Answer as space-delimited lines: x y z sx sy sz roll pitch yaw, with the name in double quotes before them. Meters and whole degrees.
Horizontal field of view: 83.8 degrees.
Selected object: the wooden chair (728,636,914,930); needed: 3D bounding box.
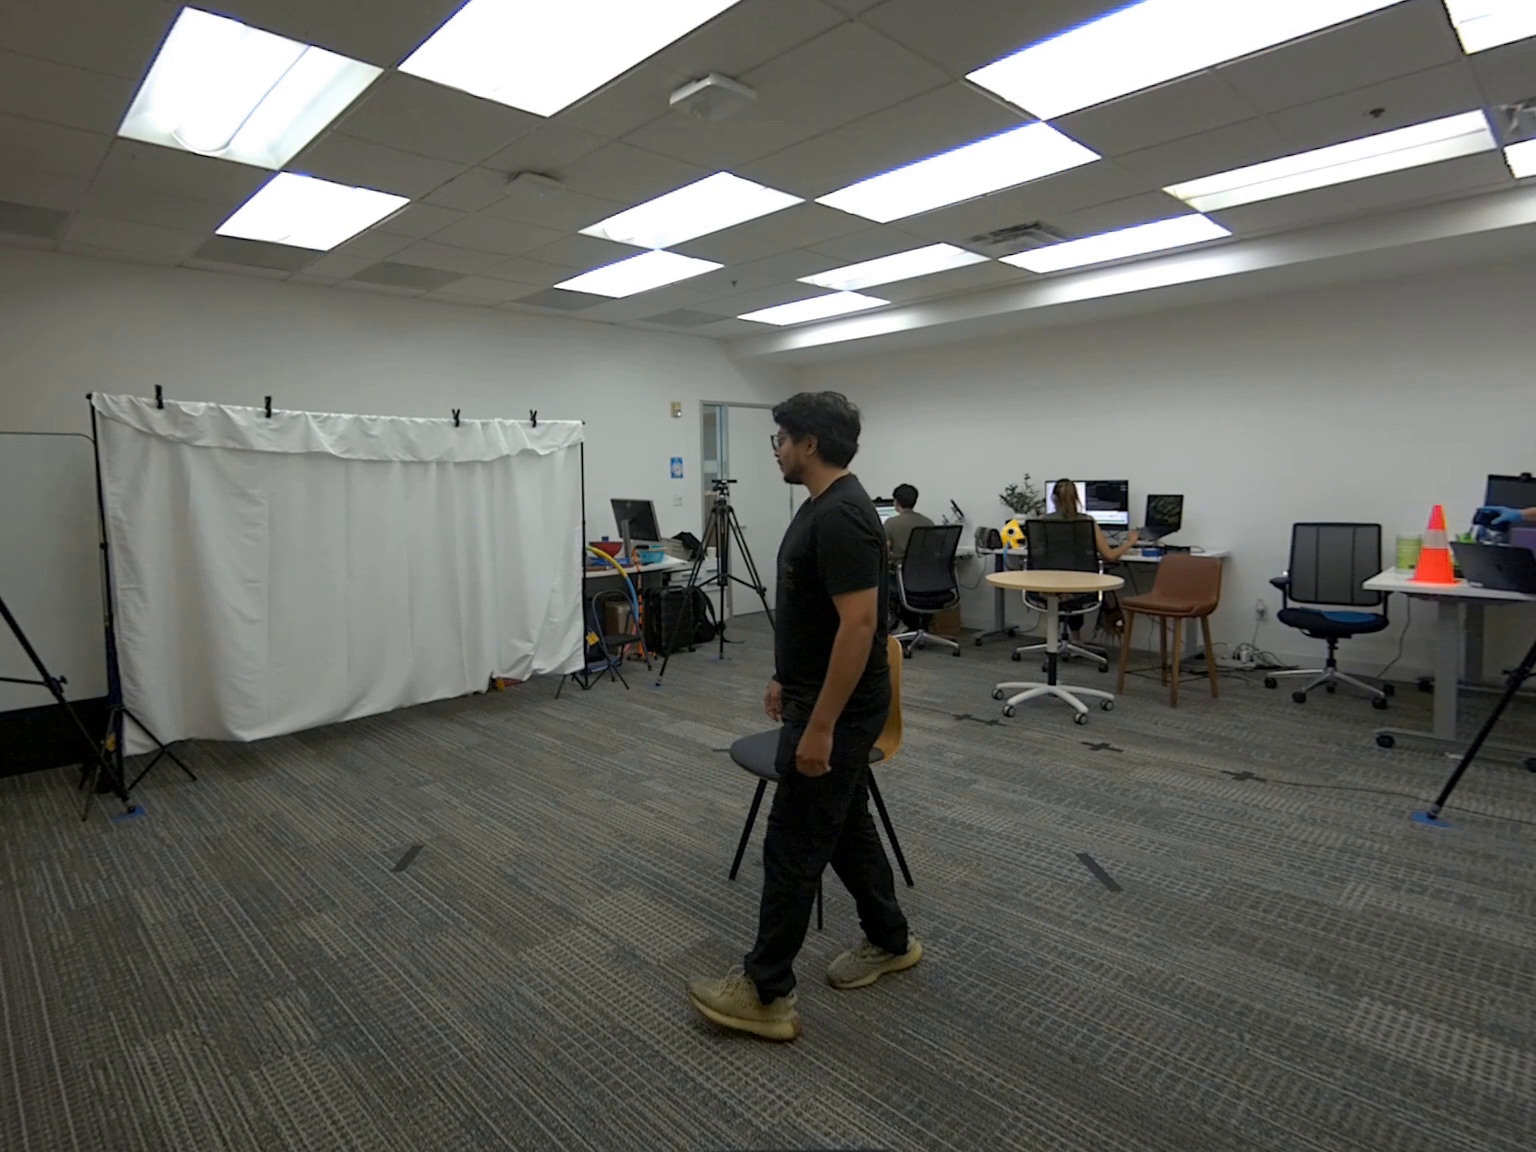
"wooden chair" 0.172 0.638 2.914 0.508 0.876 0.493 1 2 -40
